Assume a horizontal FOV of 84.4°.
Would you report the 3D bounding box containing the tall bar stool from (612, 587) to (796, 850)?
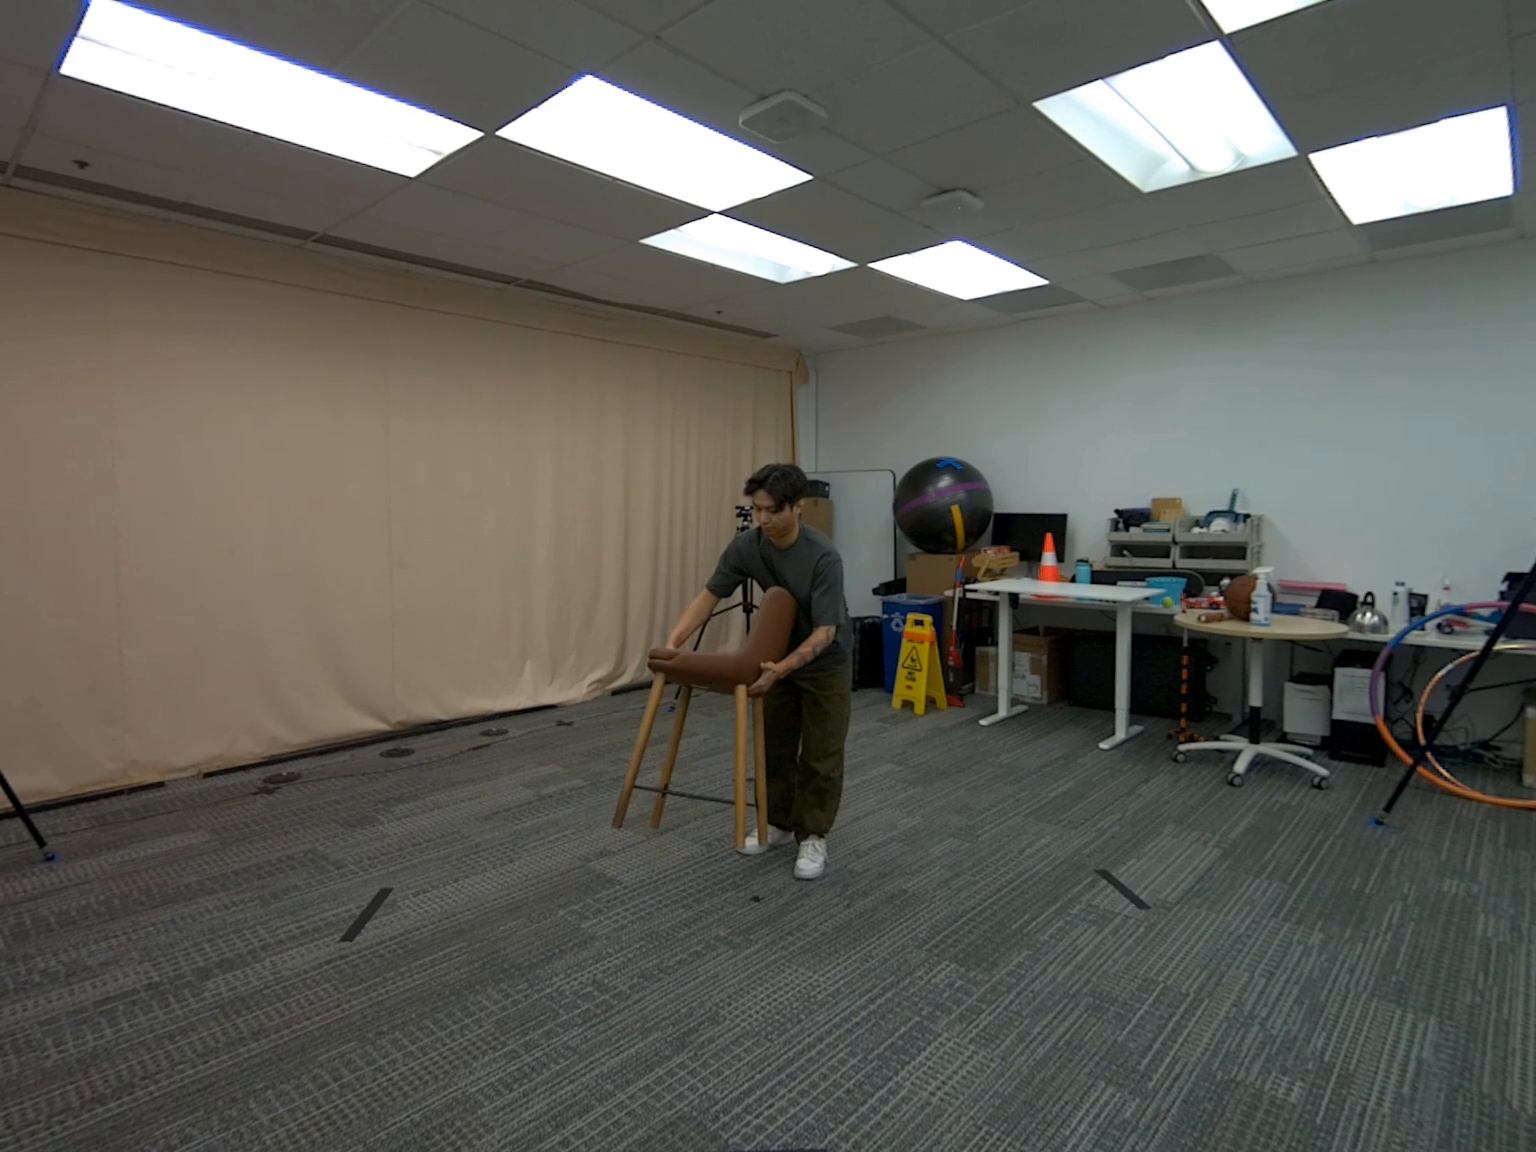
[{"bbox_3d":[-0.202,0.491,3.003,0.476,0.896,0.445,4,-15,16],"label":"tall bar stool"}]
